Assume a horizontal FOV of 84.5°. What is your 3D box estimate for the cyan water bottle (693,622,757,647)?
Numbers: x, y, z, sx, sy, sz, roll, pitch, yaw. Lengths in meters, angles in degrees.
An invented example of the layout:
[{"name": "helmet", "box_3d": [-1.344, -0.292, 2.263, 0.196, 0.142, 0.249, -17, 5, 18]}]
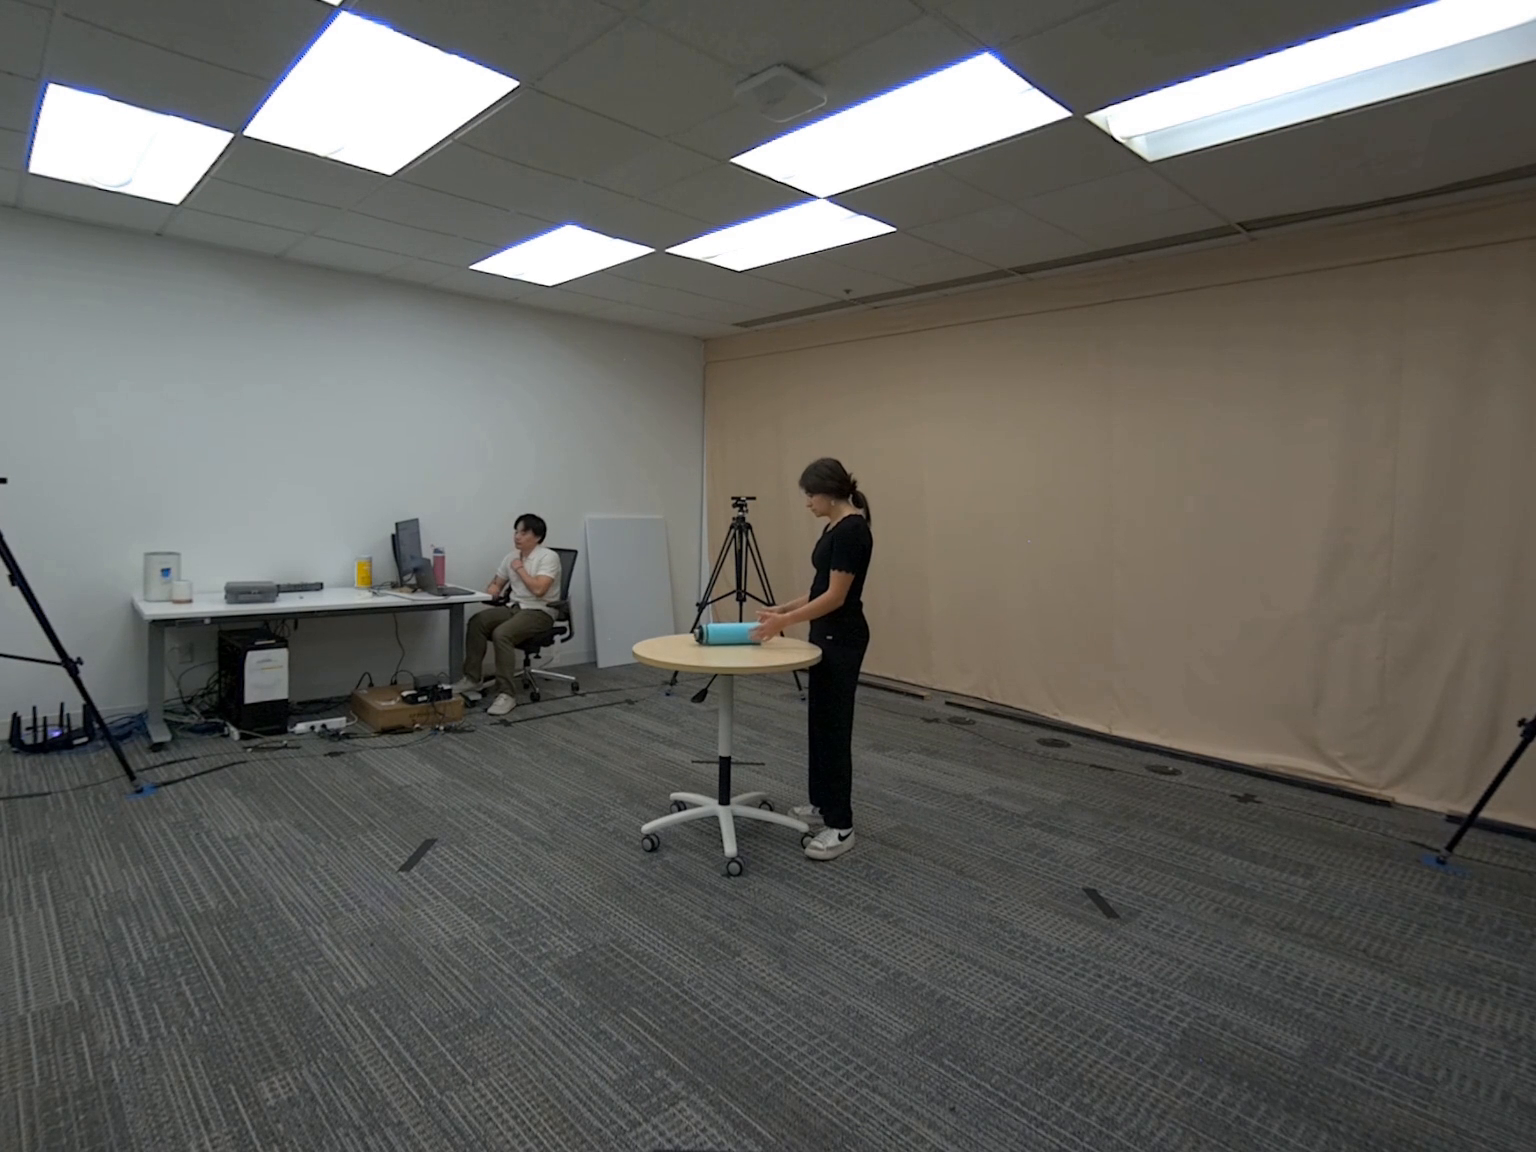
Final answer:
[{"name": "cyan water bottle", "box_3d": [-0.181, 0.242, 3.492, 0.281, 0.092, 0.093, -1, 5, -11]}]
